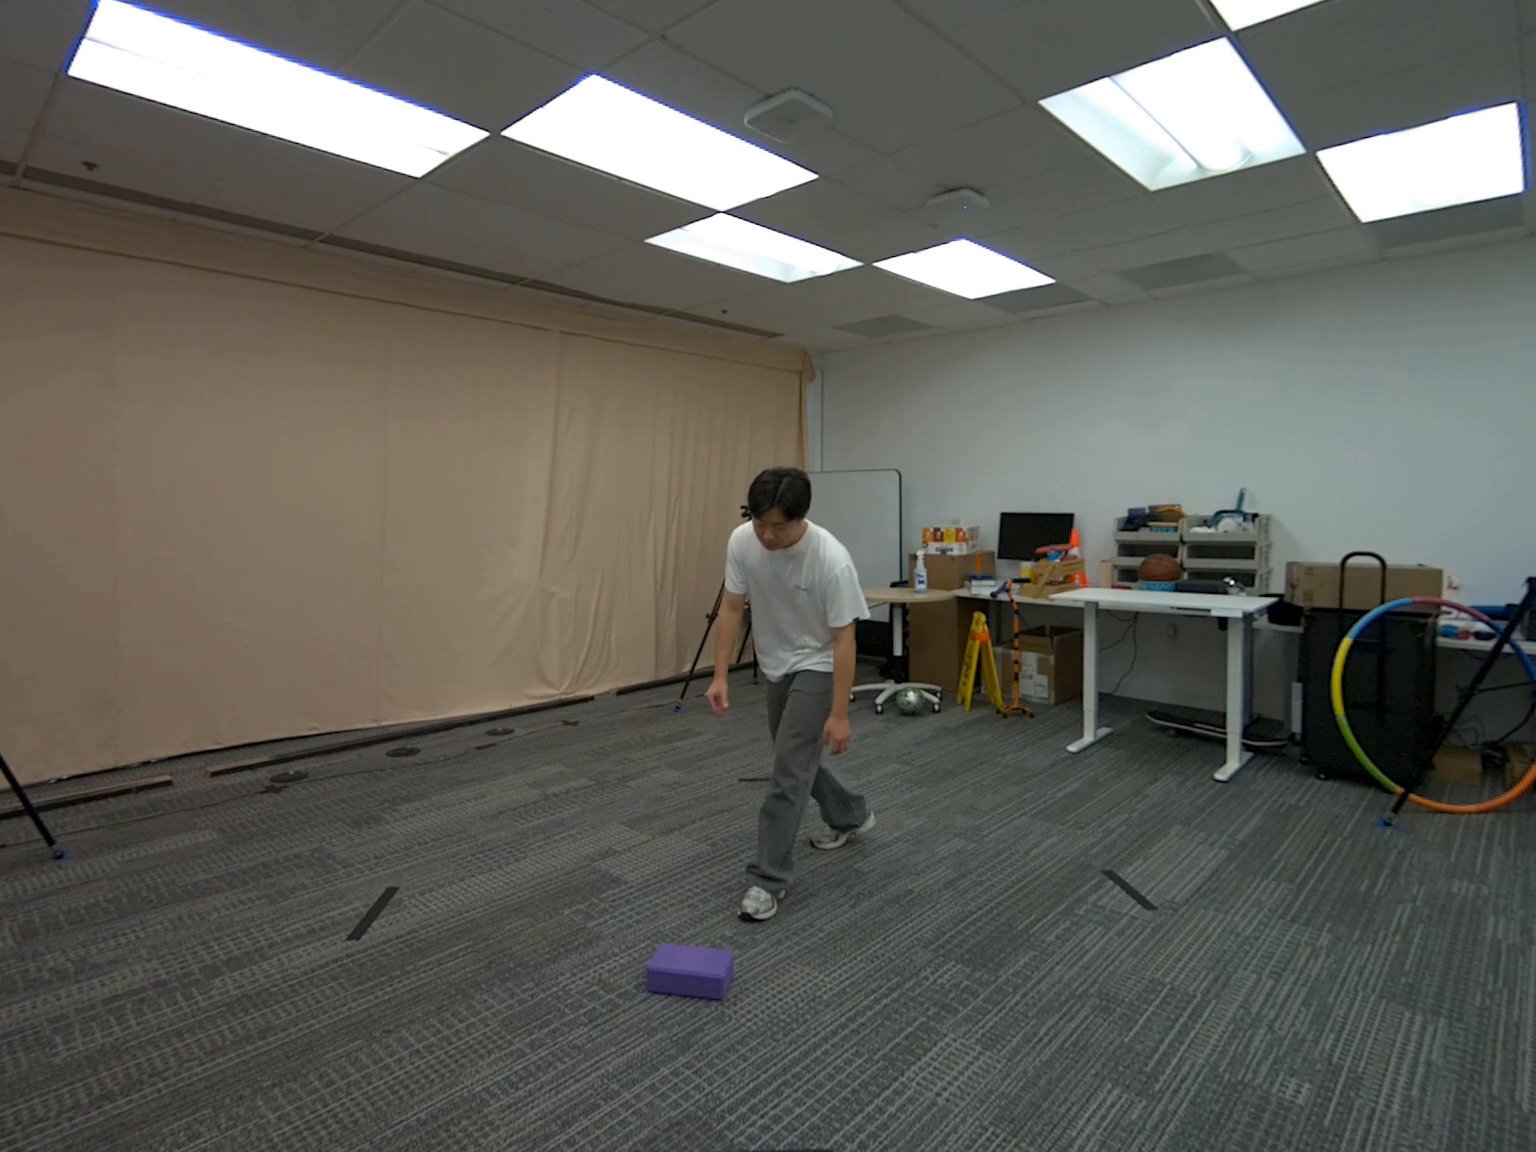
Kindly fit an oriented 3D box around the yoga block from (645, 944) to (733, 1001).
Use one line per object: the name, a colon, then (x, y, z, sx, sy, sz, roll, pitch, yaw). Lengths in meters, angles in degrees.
yoga block: (-0.216, 1.152, 2.447, 0.233, 0.076, 0.147, 1, 4, 13)
